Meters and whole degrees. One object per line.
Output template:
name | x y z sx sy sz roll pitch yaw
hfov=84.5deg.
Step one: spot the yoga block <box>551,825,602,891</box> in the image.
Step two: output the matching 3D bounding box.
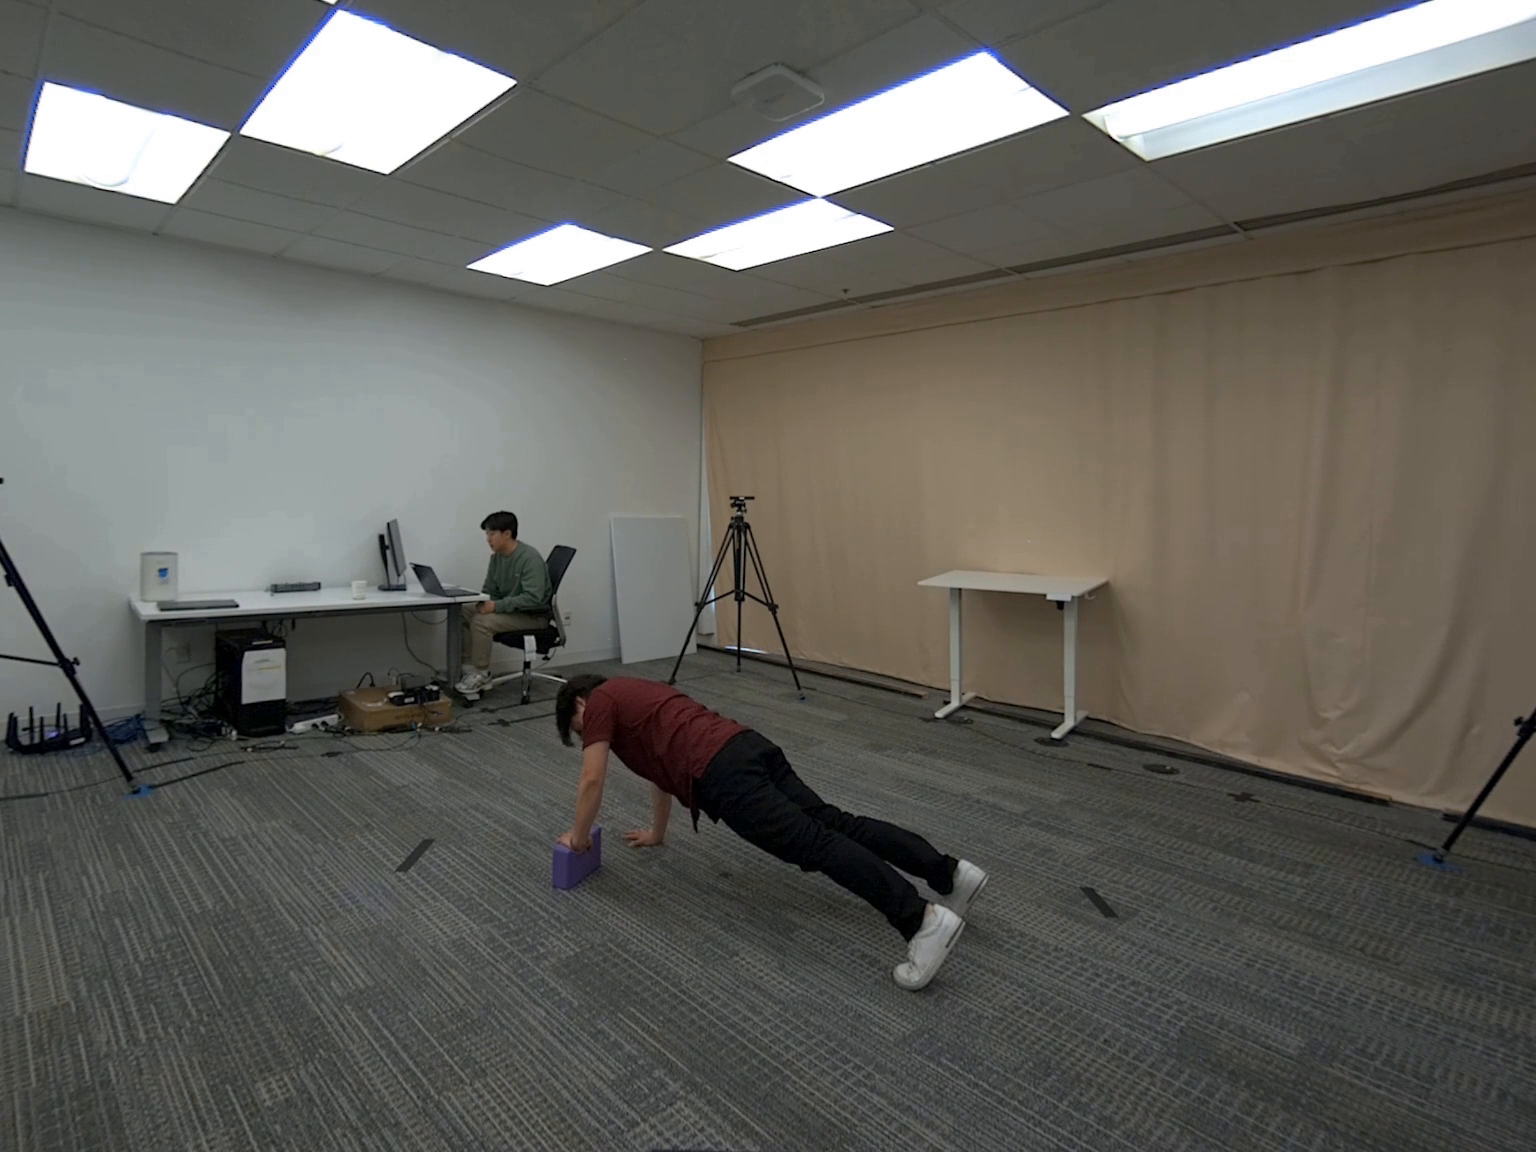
yoga block | -0.692 1.013 3.064 0.077 0.148 0.226 3 5 19
